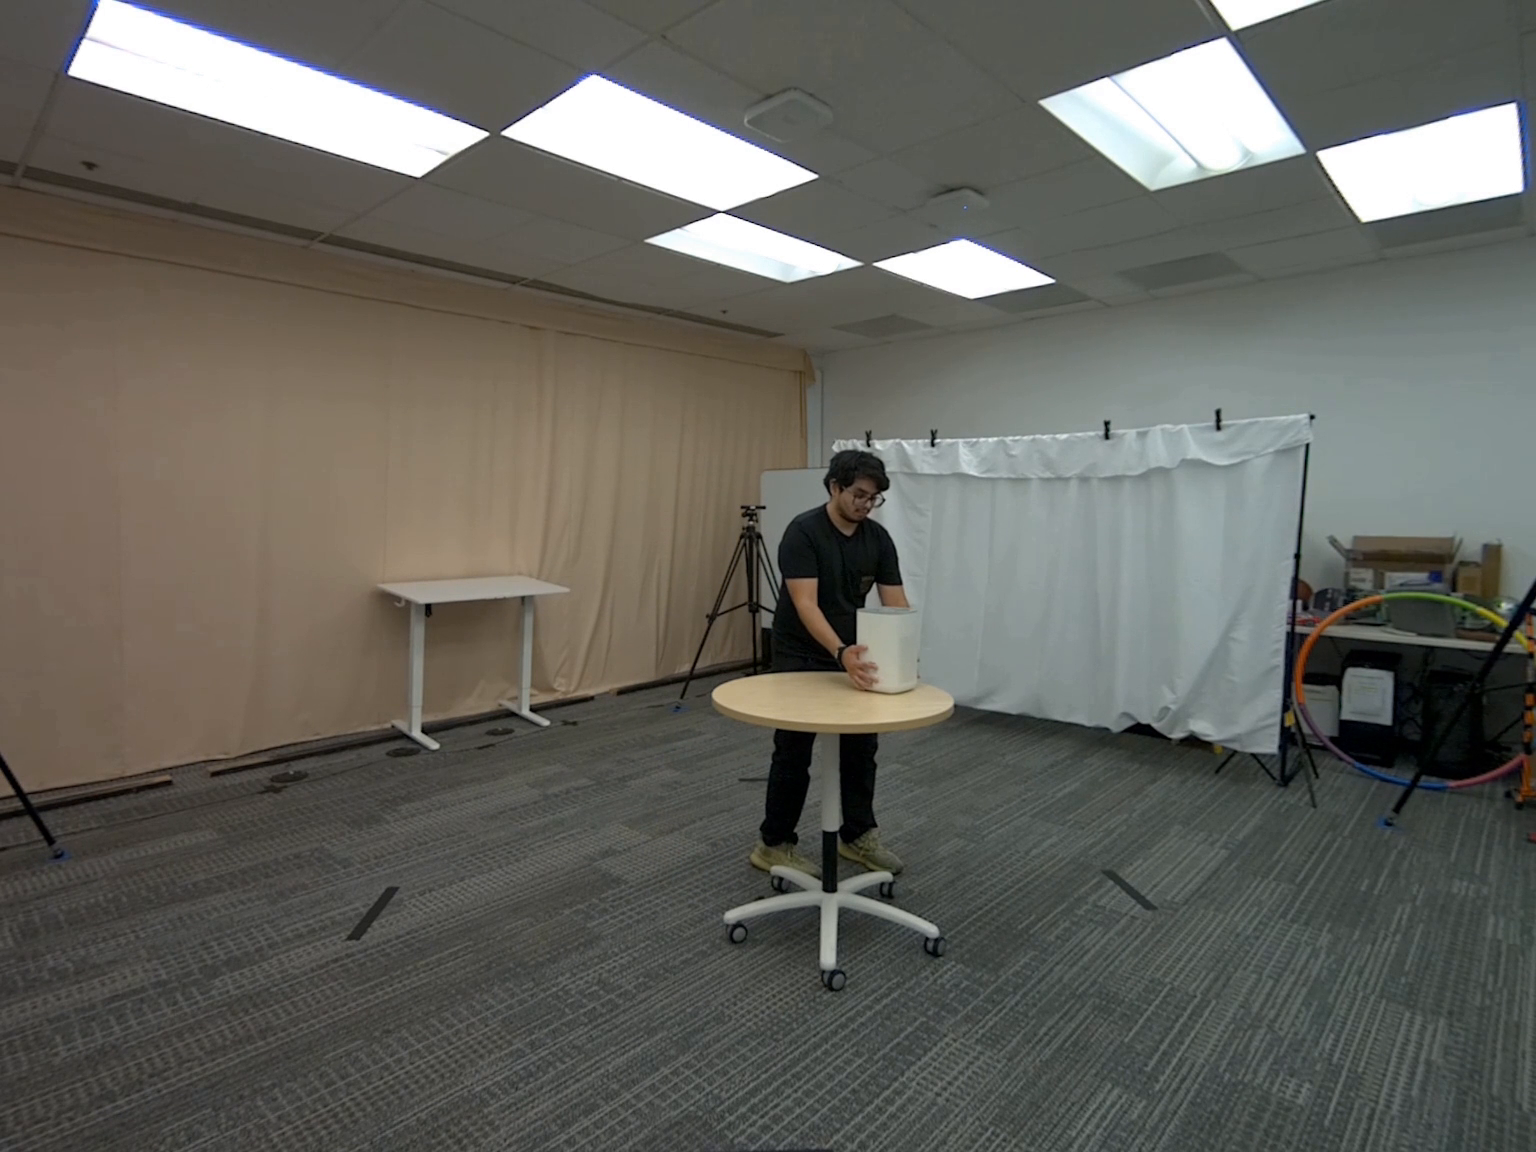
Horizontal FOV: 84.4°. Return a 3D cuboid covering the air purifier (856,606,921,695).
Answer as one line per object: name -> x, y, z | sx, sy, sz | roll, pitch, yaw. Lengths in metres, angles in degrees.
air purifier -> 0.409, 0.241, 2.783 | 0.177, 0.265, 0.166 | 5, 6, 43
